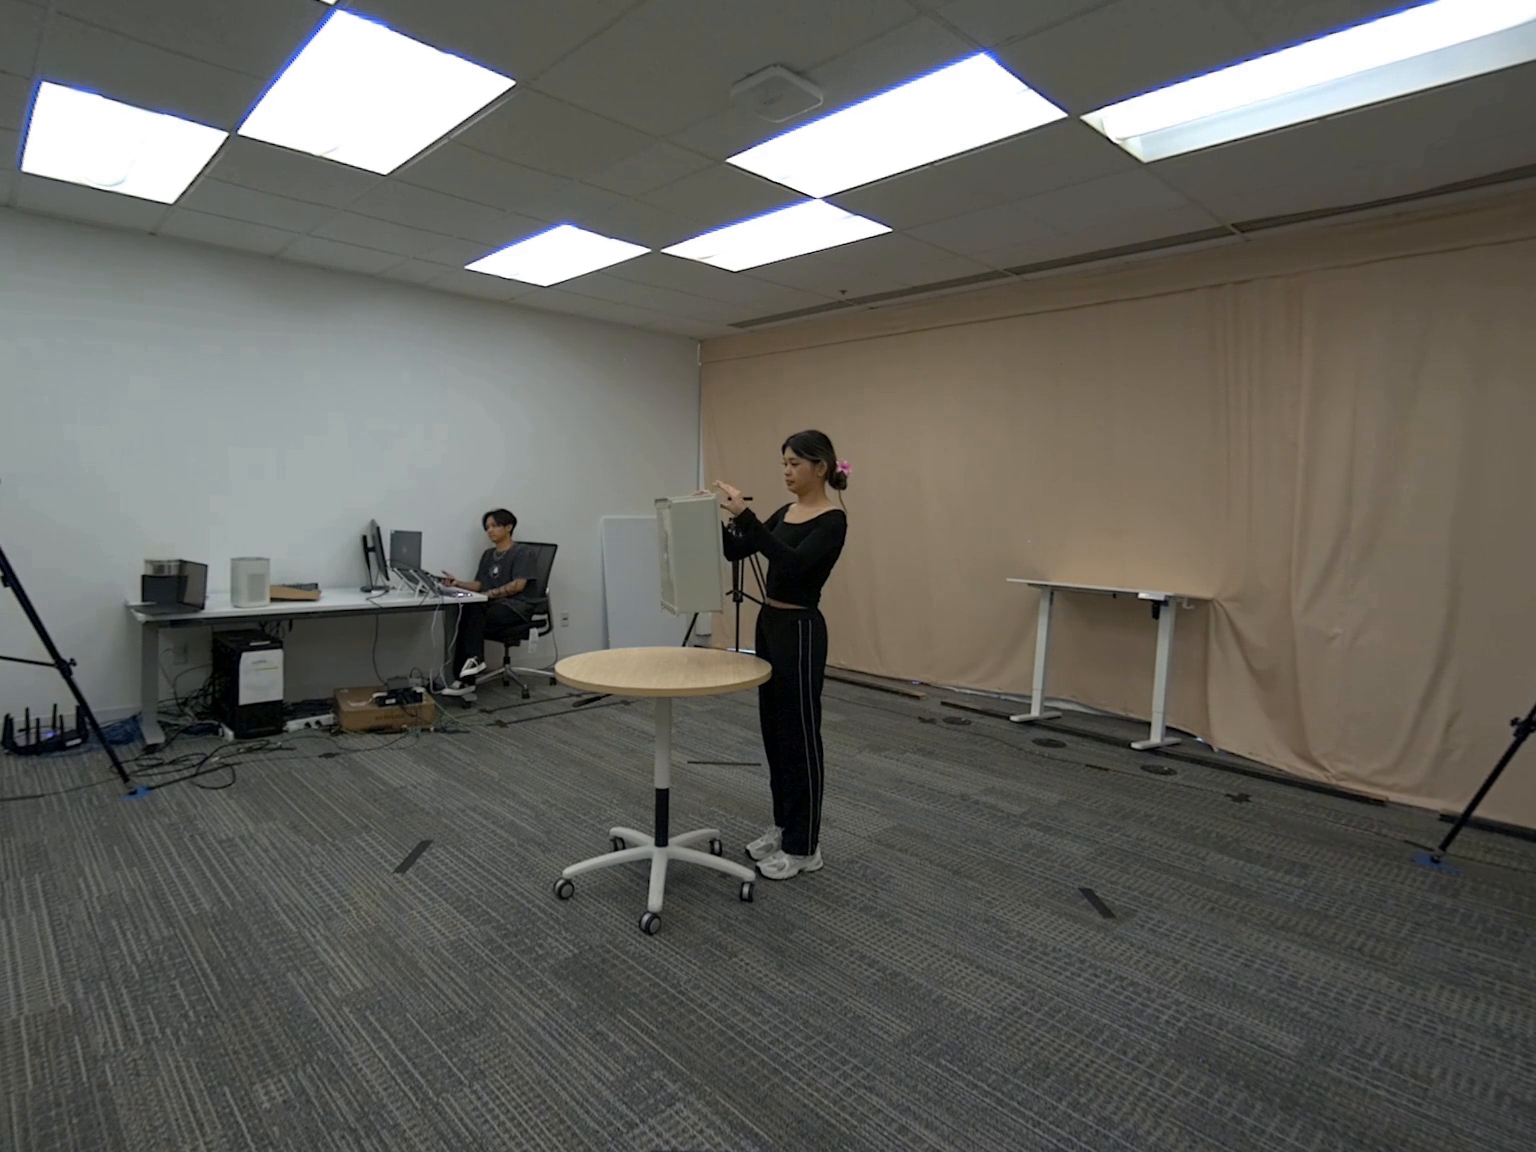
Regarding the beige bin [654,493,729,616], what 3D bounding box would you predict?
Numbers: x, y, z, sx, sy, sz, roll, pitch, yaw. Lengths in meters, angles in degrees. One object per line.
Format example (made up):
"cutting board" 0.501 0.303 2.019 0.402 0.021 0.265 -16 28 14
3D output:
"beige bin" -0.277 -0.083 3.037 0.187 0.421 0.382 -4 4 -13
